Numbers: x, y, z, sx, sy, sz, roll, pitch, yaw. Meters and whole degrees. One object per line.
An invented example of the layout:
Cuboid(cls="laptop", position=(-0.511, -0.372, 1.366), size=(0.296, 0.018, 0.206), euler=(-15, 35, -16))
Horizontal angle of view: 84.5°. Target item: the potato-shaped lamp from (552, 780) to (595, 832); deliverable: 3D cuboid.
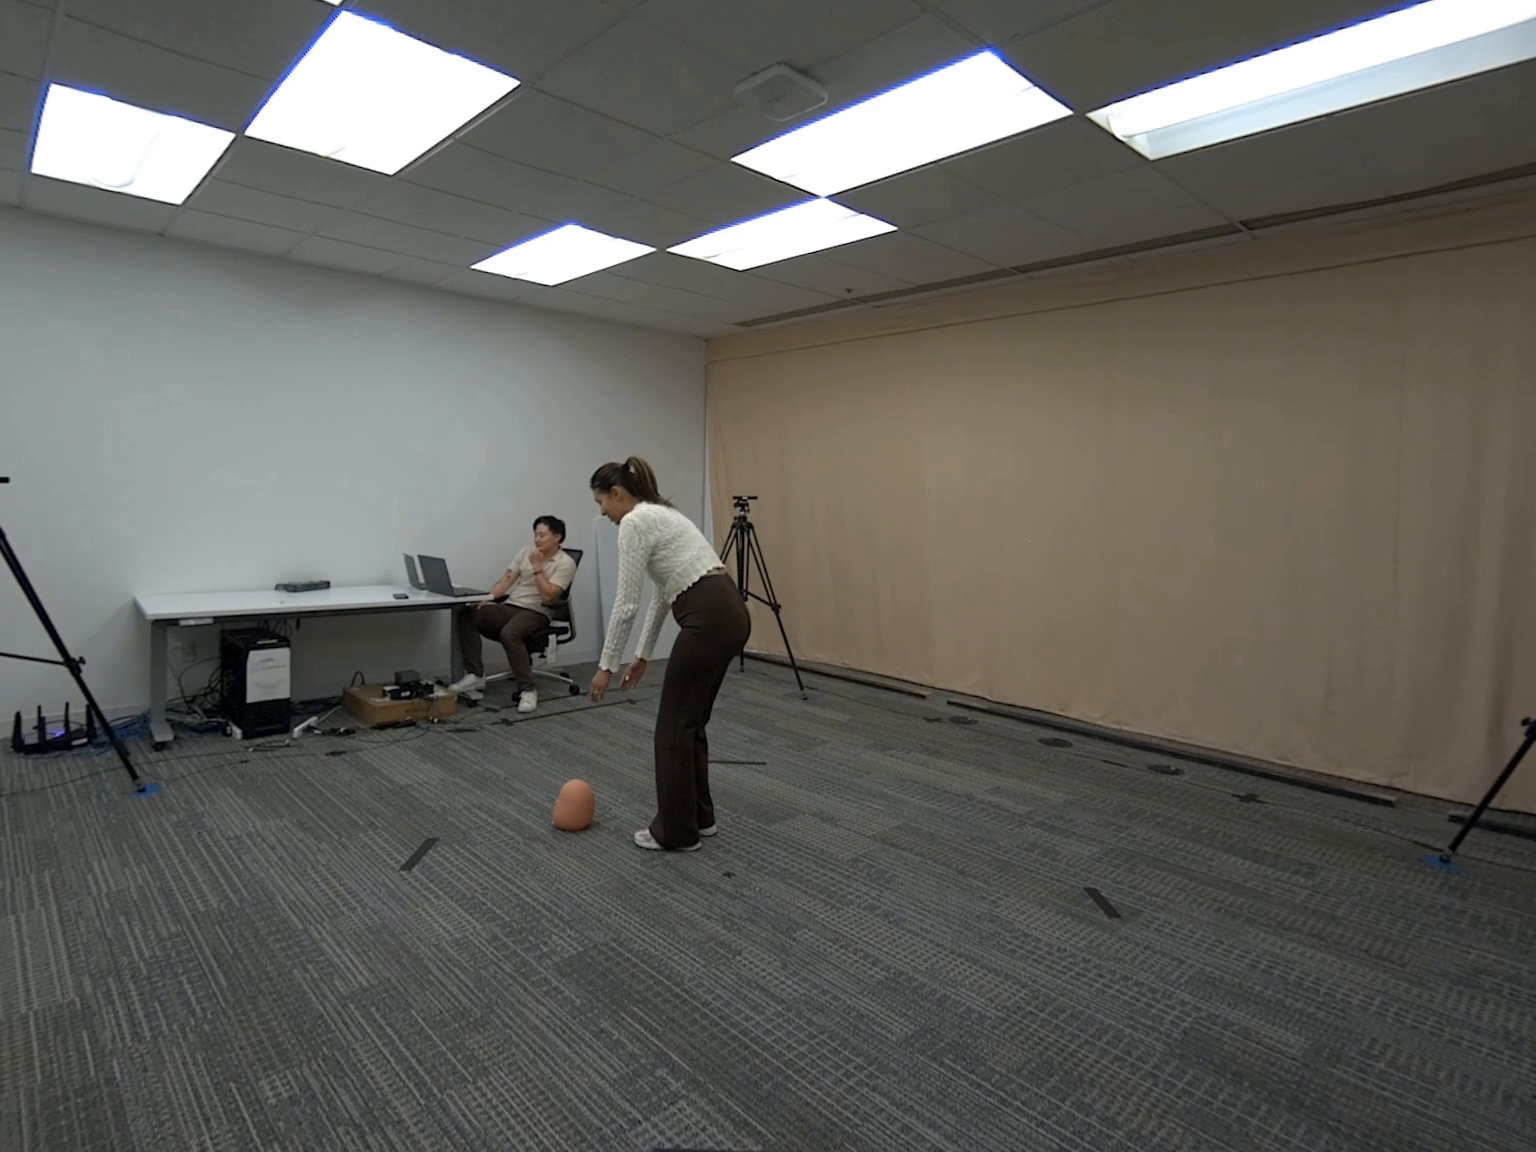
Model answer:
Cuboid(cls="potato-shaped lamp", position=(-0.811, 0.945, 3.518), size=(0.175, 0.198, 0.161), euler=(4, 3, 35))
